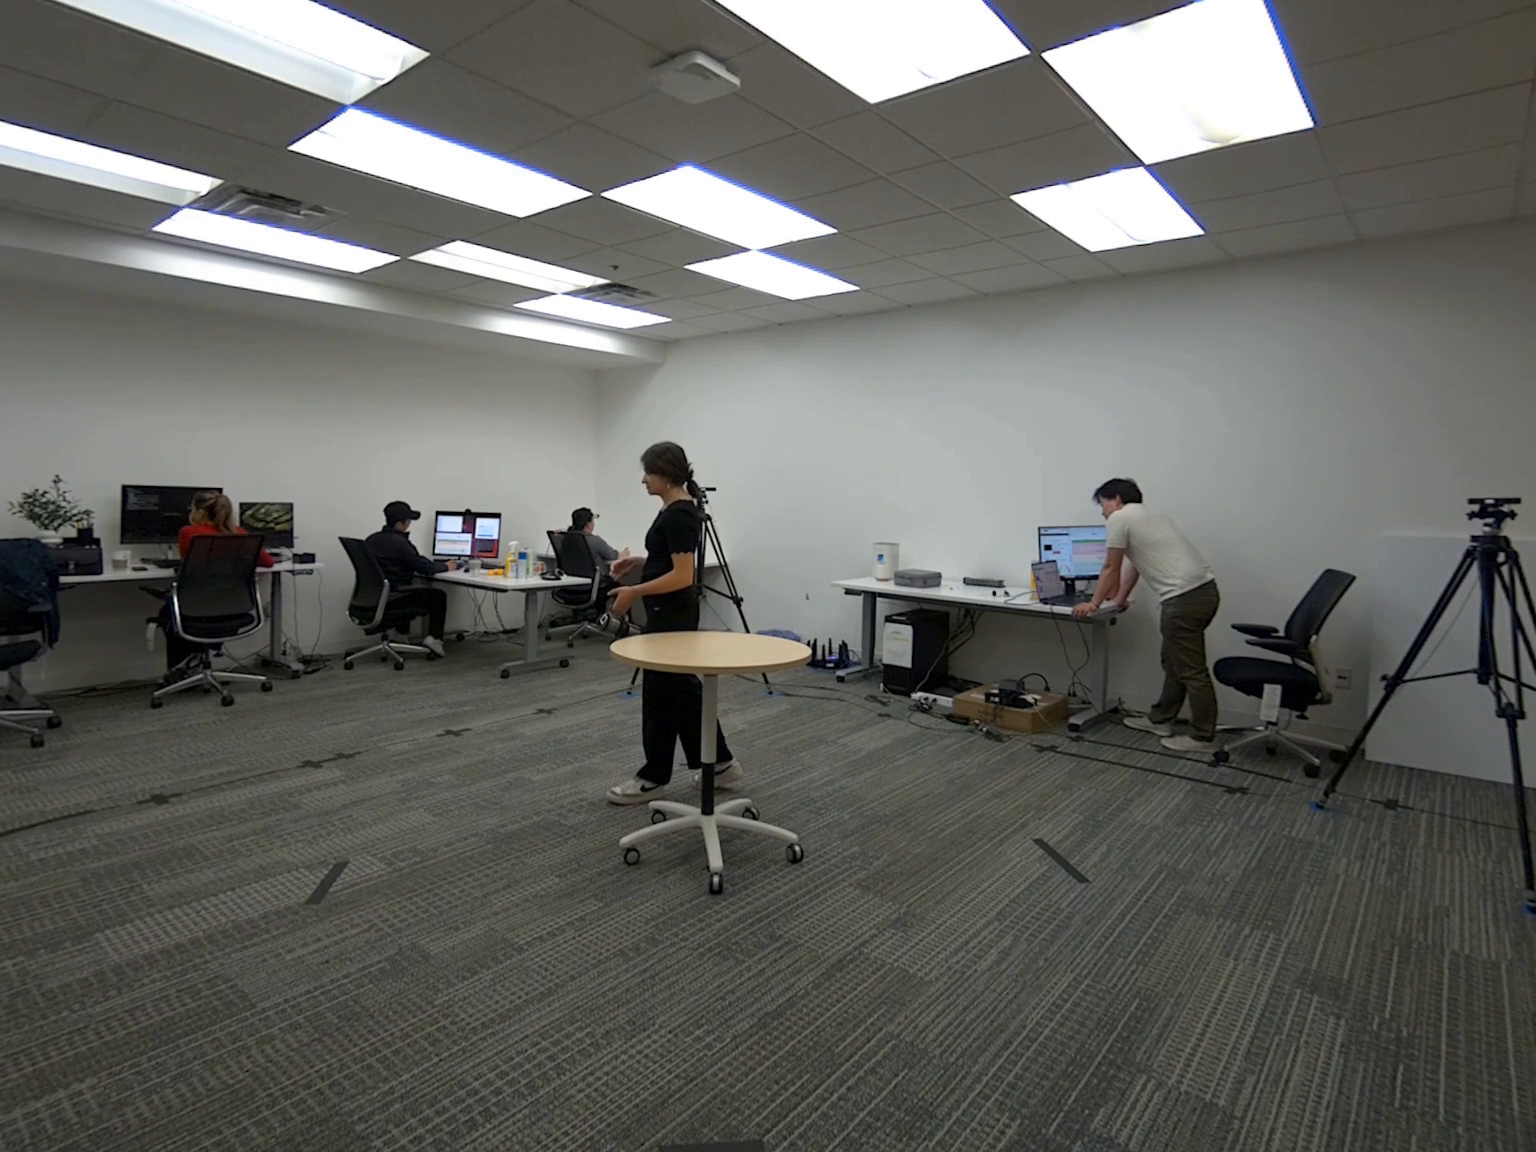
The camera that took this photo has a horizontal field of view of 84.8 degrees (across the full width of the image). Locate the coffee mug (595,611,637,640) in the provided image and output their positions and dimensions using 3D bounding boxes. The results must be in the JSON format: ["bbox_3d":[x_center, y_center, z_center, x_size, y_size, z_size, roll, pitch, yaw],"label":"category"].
[{"bbox_3d":[-0.639,0.200,3.657,0.196,0.122,0.091,24,3,-32],"label":"coffee mug"}]
